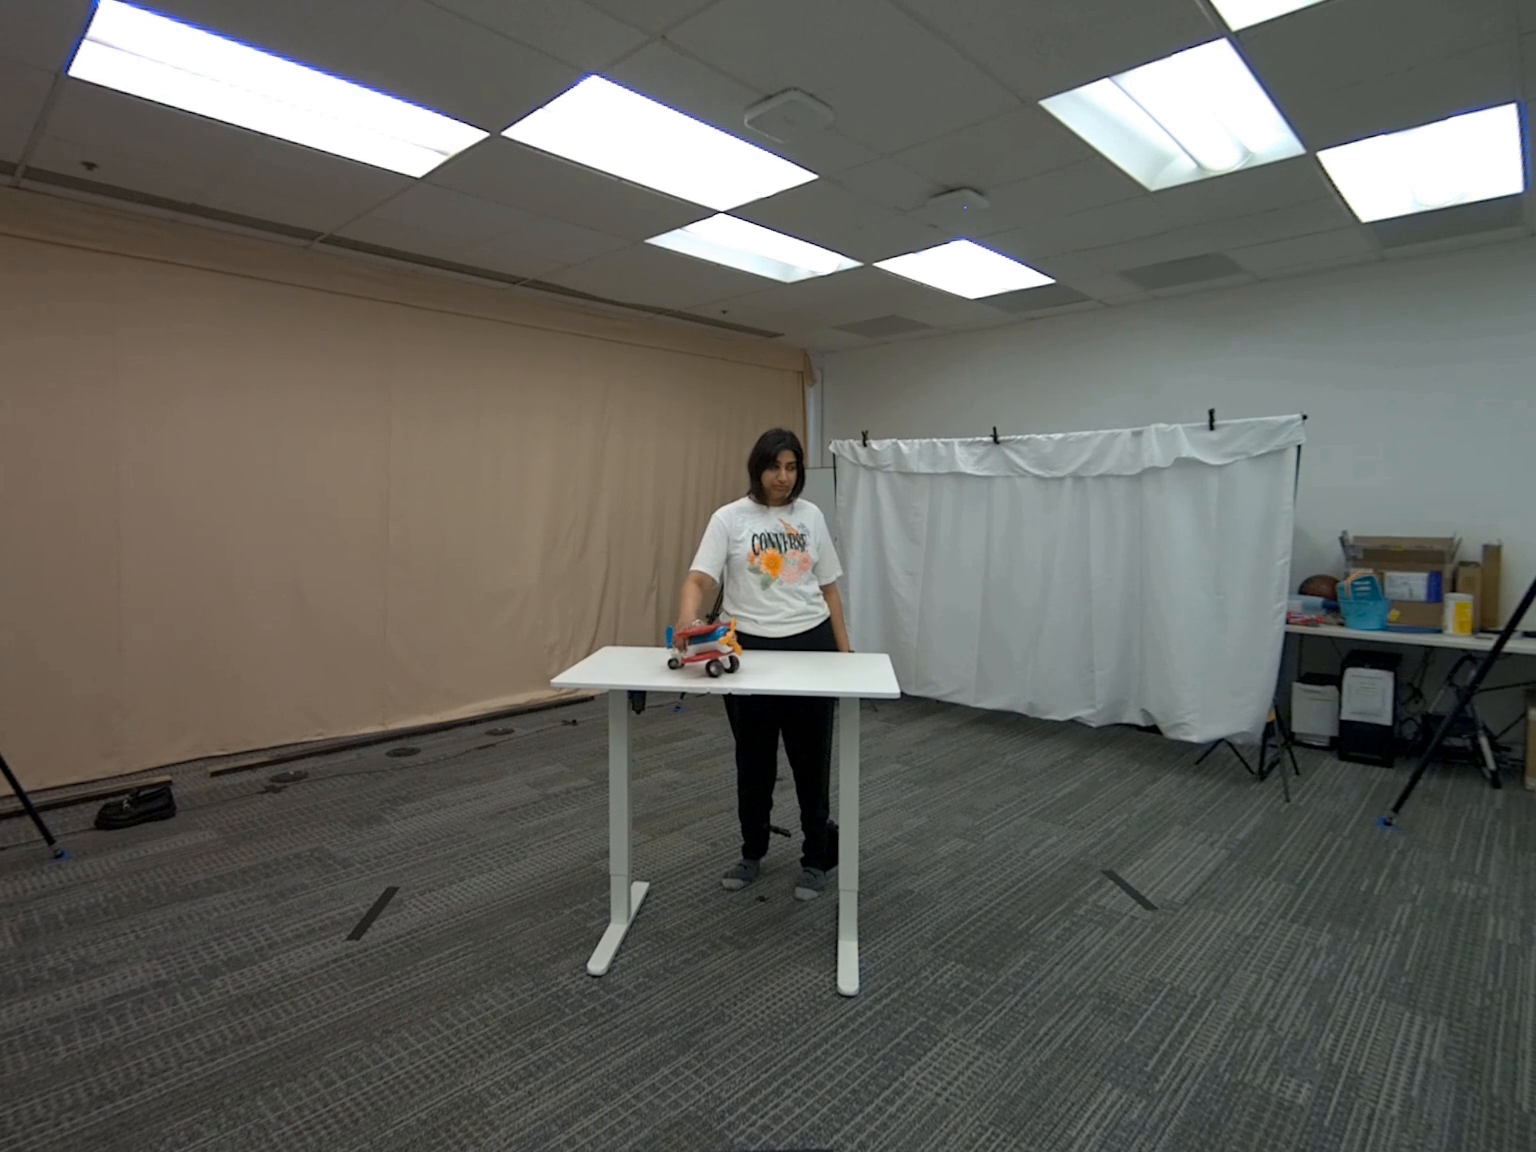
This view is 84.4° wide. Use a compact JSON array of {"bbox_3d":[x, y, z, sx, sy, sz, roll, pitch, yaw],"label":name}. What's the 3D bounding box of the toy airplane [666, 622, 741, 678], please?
[{"bbox_3d":[-0.213,0.221,2.569,0.261,0.156,0.250,1,5,5],"label":"toy airplane"}]
